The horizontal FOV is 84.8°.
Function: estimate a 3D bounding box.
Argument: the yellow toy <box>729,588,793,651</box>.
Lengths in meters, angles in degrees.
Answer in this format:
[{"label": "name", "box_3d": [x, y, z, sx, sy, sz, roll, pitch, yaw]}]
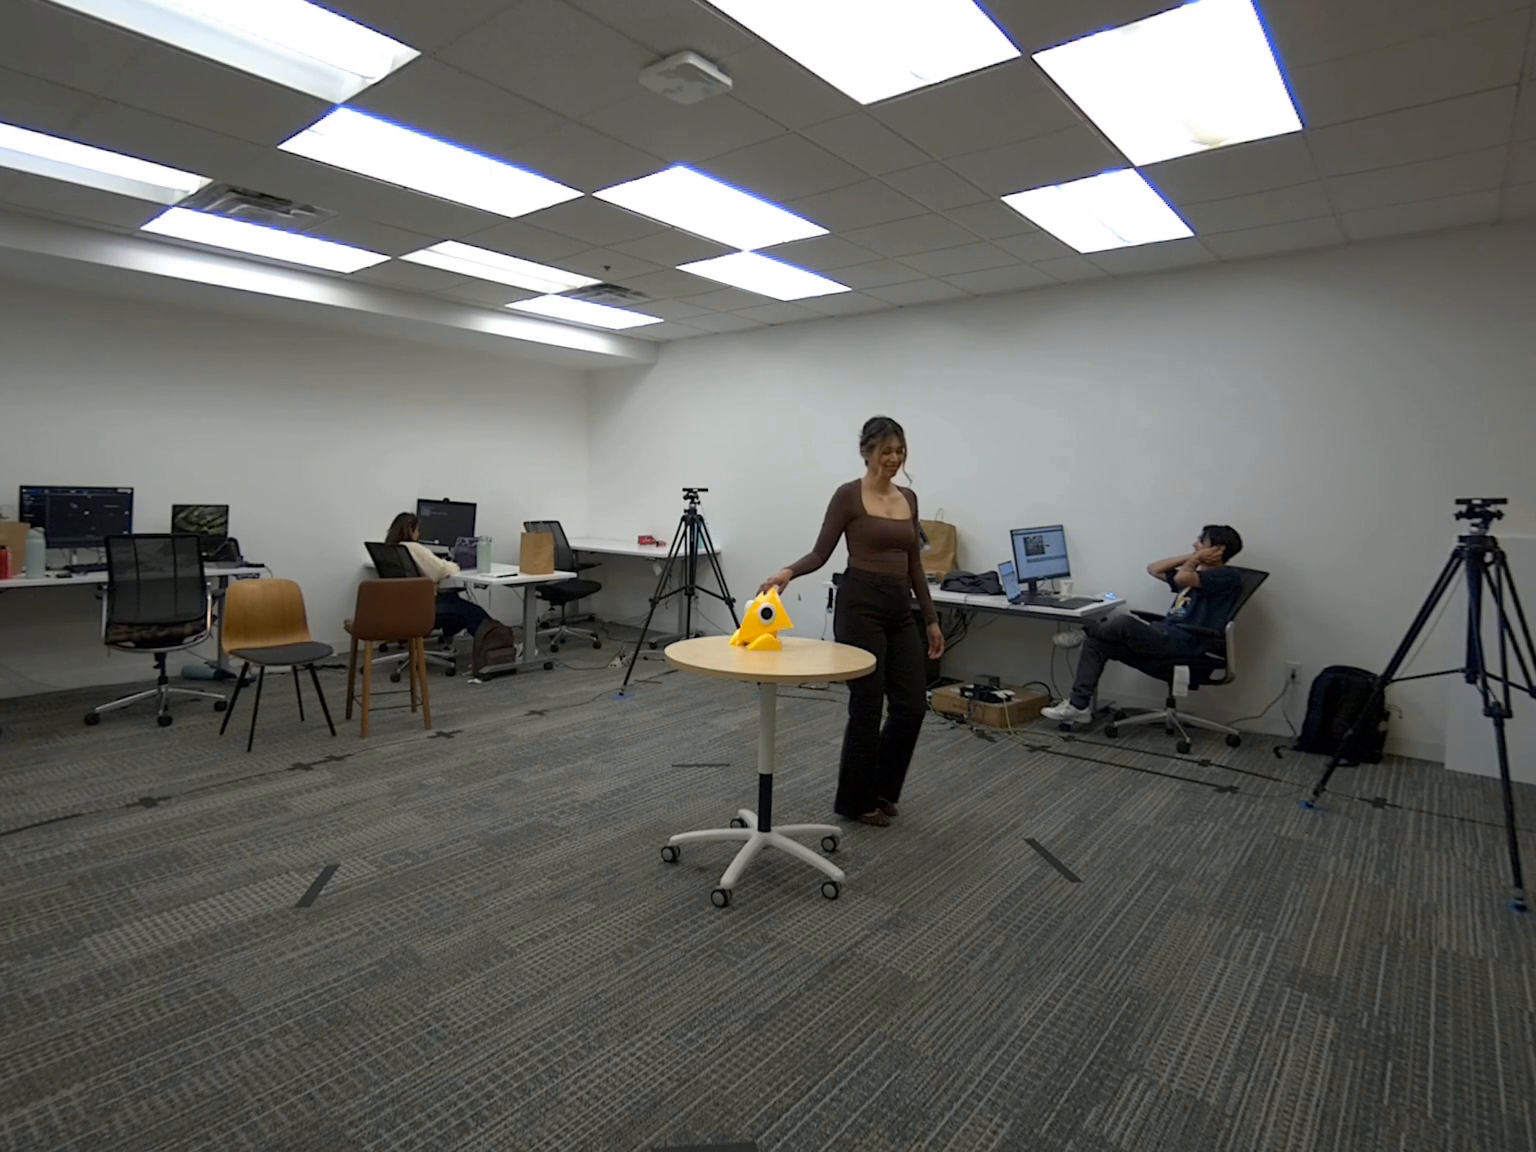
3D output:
[{"label": "yellow toy", "box_3d": [-0.043, 0.149, 3.246, 0.187, 0.230, 0.211, -1, 5, -34]}]
